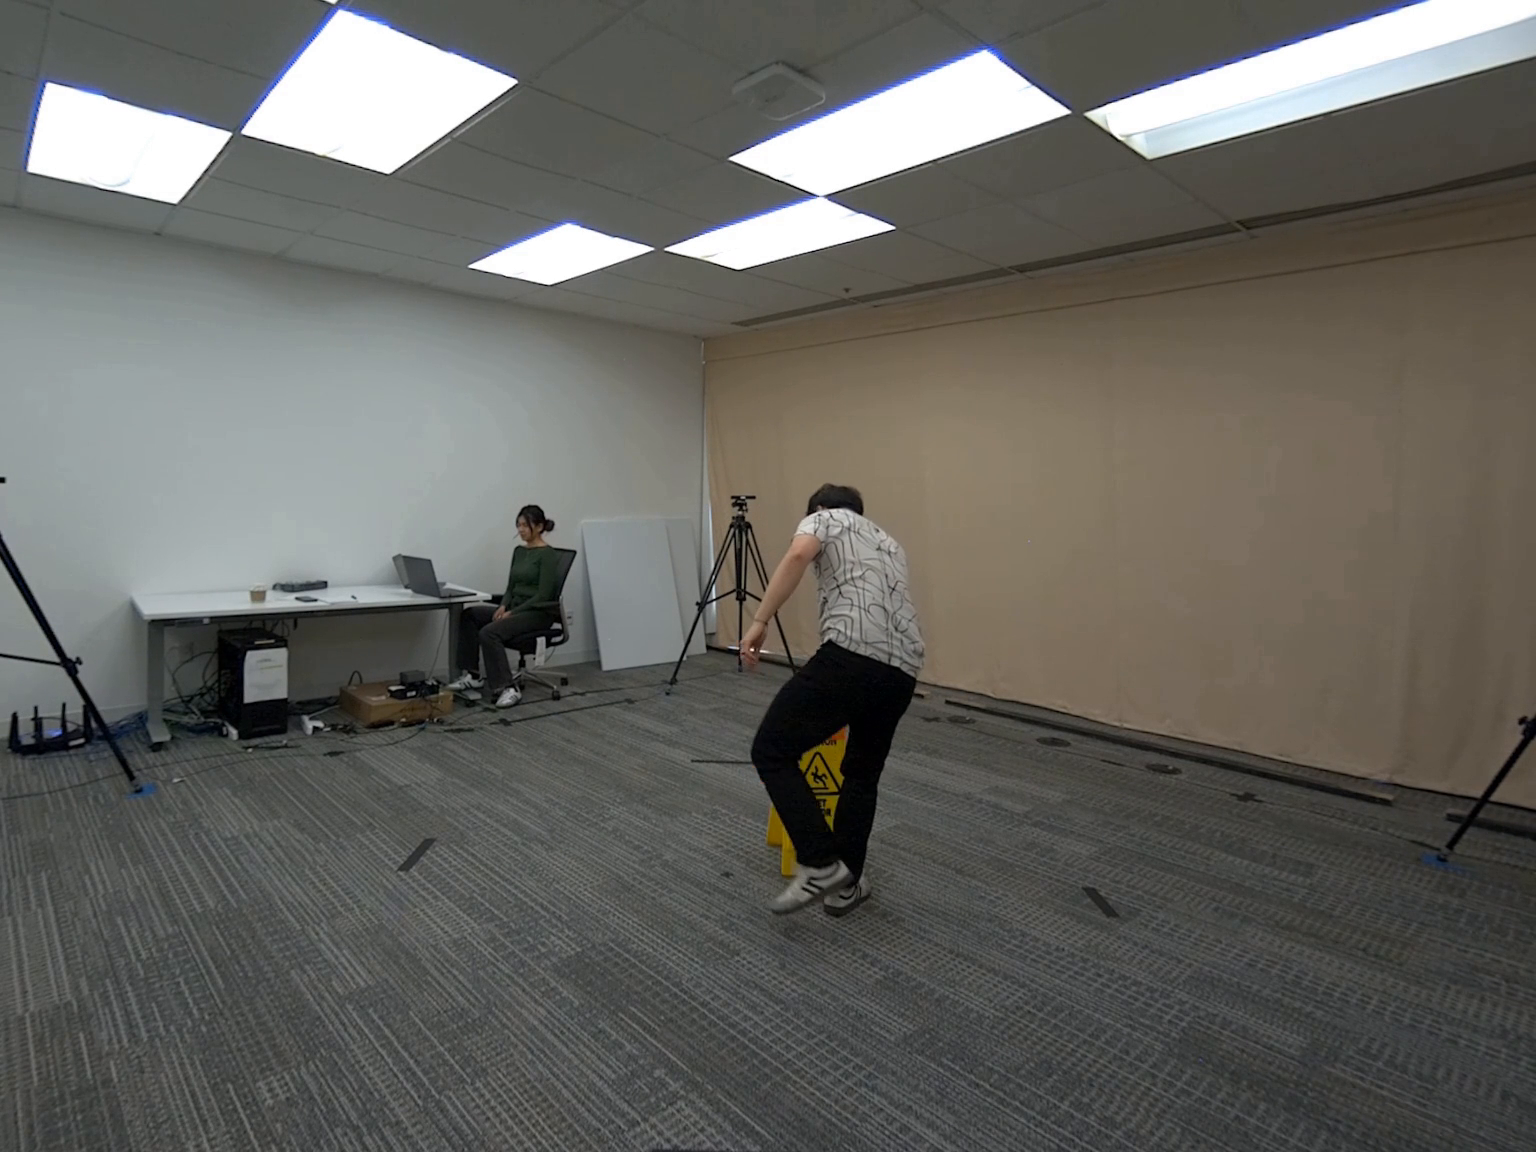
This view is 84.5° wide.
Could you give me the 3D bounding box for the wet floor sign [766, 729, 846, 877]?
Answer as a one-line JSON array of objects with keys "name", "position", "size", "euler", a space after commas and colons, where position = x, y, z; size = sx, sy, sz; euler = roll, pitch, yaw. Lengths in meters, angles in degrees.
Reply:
[{"name": "wet floor sign", "position": [0.161, 0.771, 3.249], "size": [0.280, 0.645, 0.293], "euler": [2, 2, -11]}]
